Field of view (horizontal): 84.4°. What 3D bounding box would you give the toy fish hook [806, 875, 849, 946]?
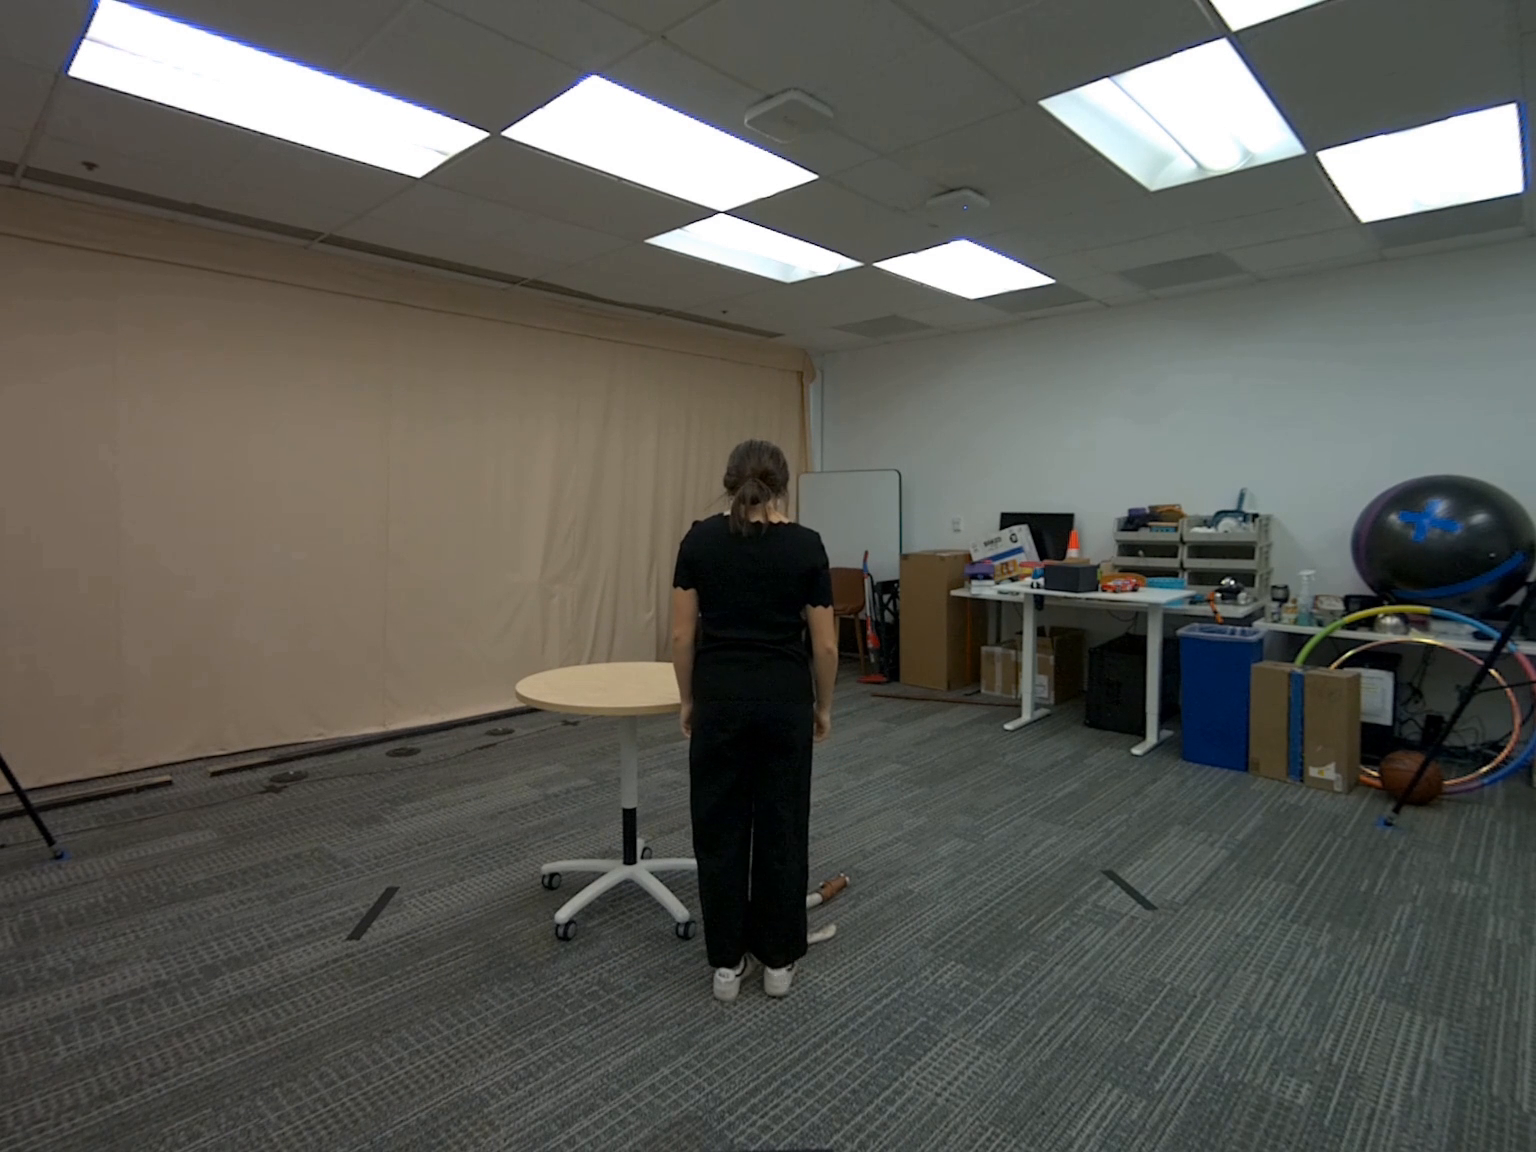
[{"bbox_3d":[0.182,1.137,2.866,0.232,0.048,0.492,13,13,36],"label":"toy fish hook"}]
